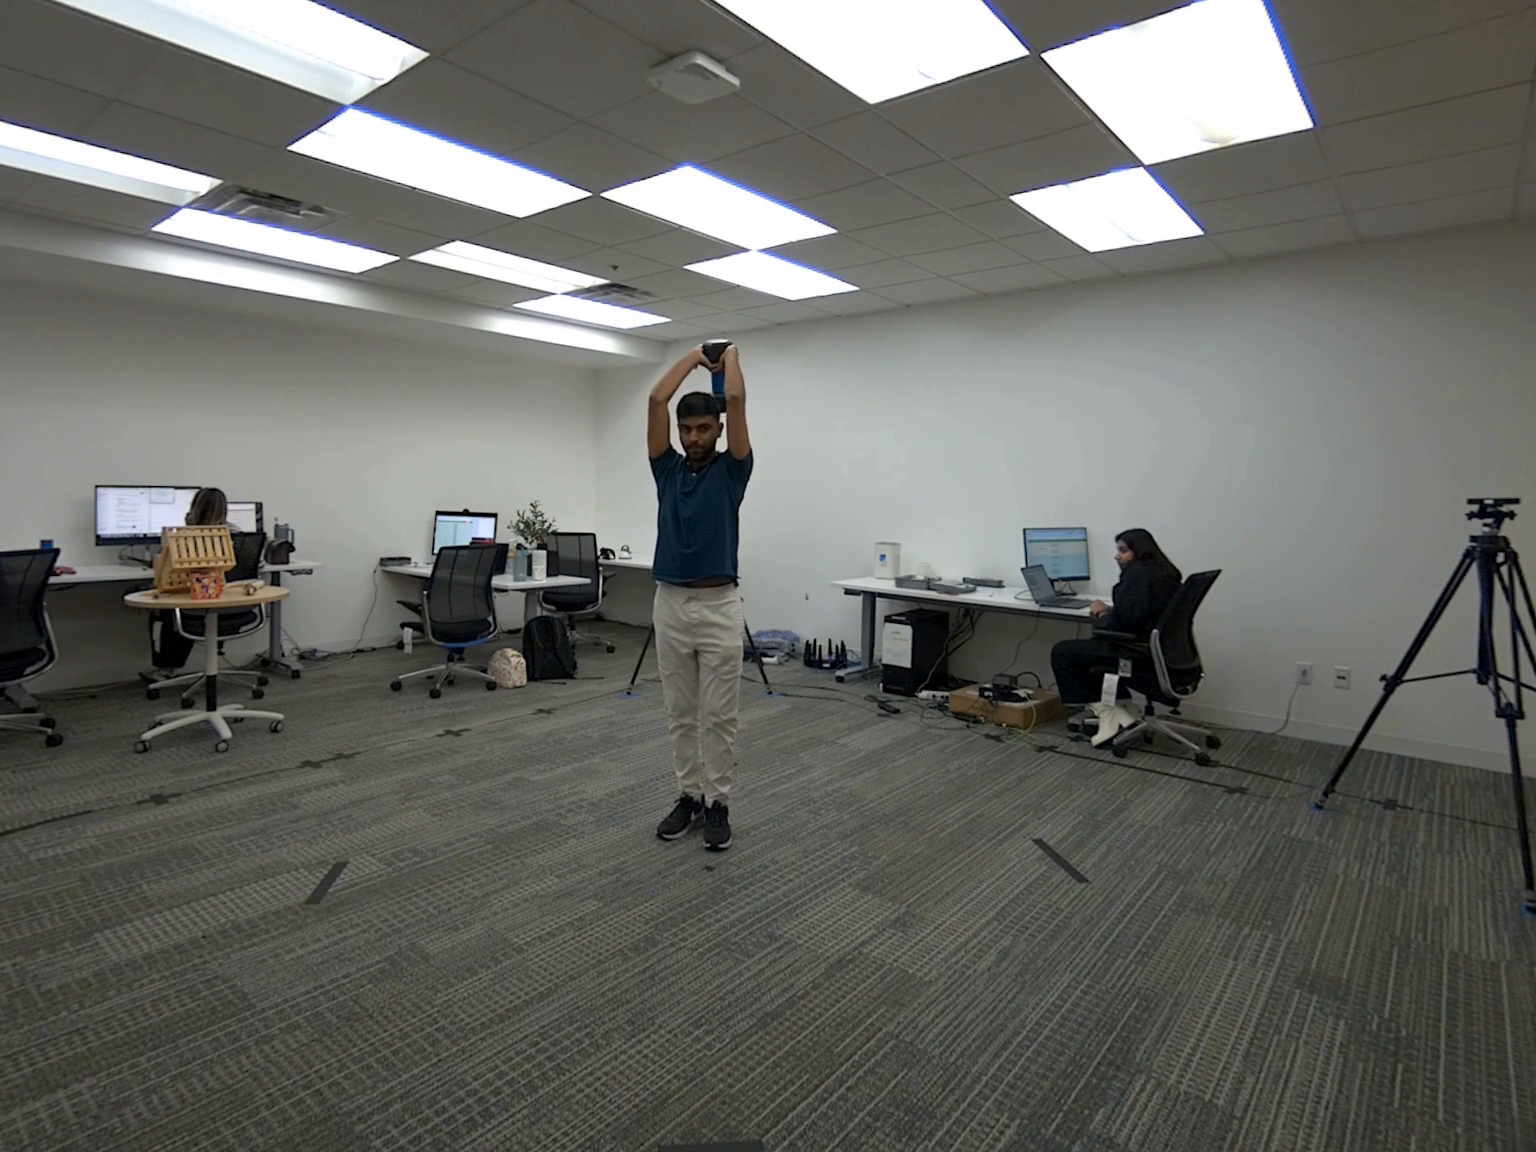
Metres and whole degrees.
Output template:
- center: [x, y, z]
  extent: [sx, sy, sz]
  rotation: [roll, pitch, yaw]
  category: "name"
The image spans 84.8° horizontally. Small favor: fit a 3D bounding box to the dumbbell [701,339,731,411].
- center: [-0.220, -0.828, 3.540]
  extent: [0.111, 0.288, 0.122]
  rotation: [3, 18, 22]
  category: "dumbbell"
